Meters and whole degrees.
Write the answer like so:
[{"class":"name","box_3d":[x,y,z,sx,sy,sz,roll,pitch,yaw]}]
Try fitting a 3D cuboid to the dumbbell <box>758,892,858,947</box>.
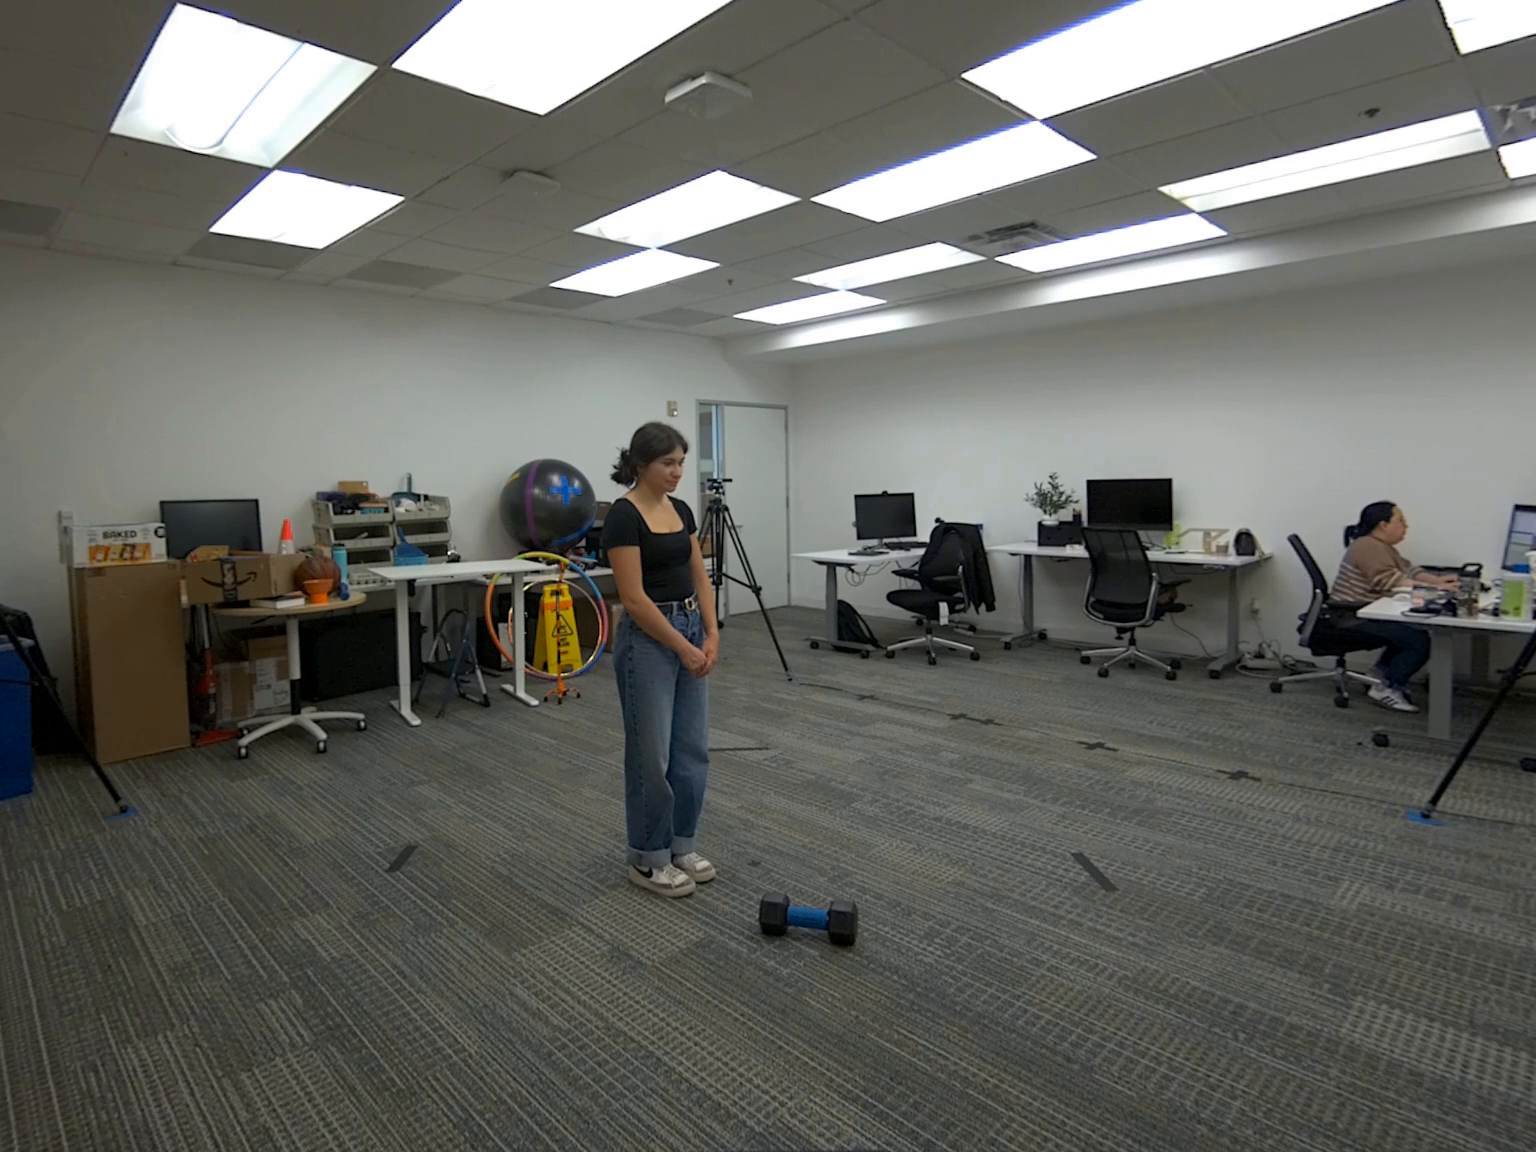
[{"class":"dumbbell","box_3d":[0.129,1.045,2.607,0.298,0.119,0.110,1,34,16]}]
